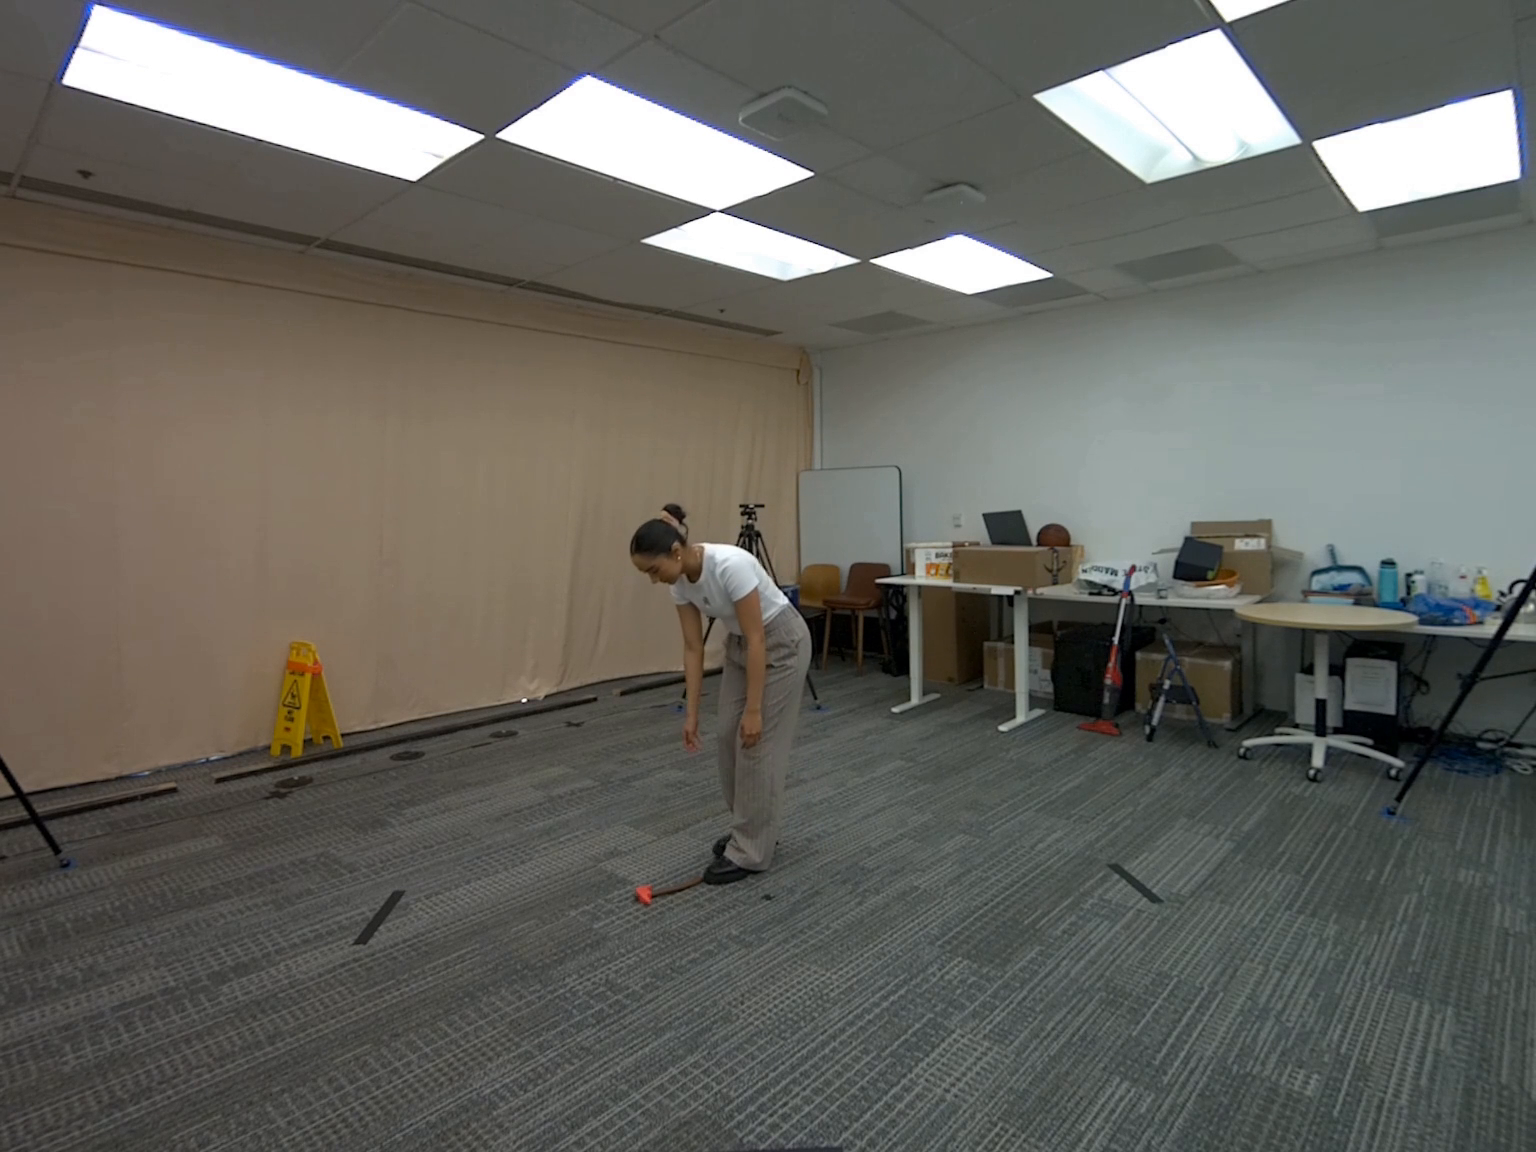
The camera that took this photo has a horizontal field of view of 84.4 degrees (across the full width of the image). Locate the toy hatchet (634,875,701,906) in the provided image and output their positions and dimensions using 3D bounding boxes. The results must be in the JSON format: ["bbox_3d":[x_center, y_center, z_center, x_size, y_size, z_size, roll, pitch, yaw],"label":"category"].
[{"bbox_3d":[-0.372,1.129,3.058,0.262,0.029,0.135,-4,3,-44],"label":"toy hatchet"}]
